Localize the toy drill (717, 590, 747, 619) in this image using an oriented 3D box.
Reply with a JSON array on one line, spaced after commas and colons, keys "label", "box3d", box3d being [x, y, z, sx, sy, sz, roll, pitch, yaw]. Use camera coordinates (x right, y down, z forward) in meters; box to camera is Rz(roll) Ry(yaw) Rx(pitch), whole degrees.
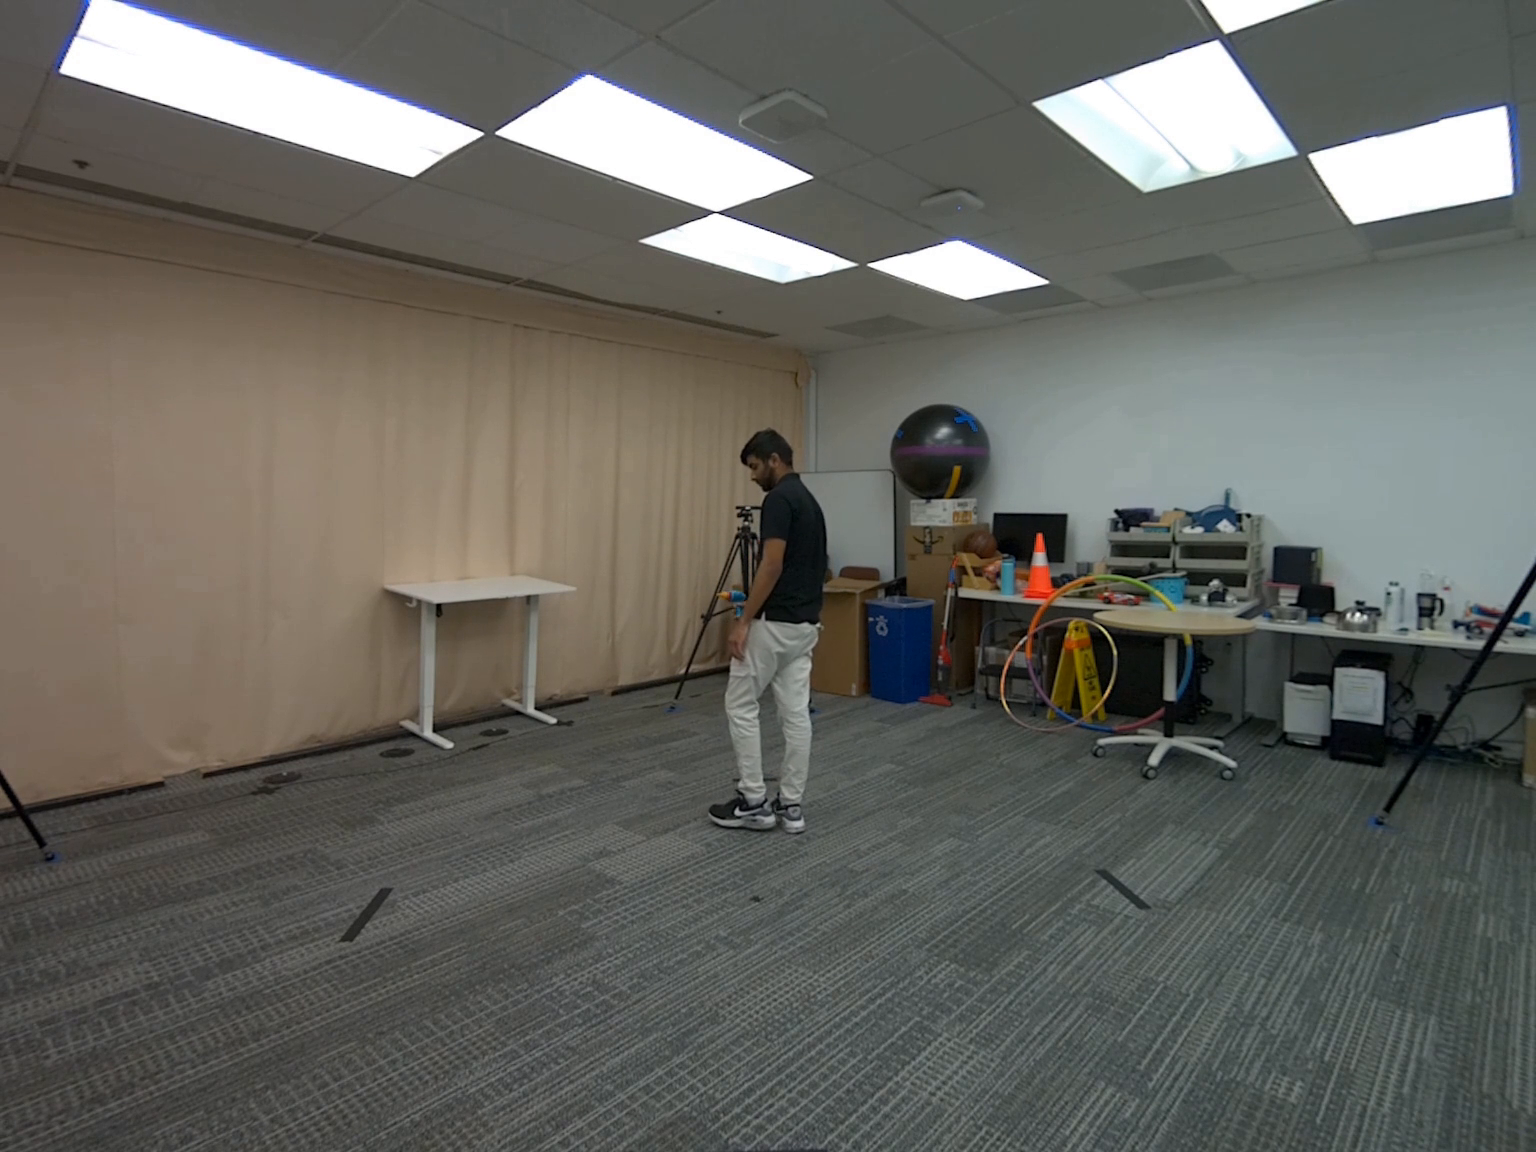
[{"label": "toy drill", "box3d": [-0.145, 0.132, 3.923, 0.164, 0.148, 0.062, 5, -26, -34]}]
